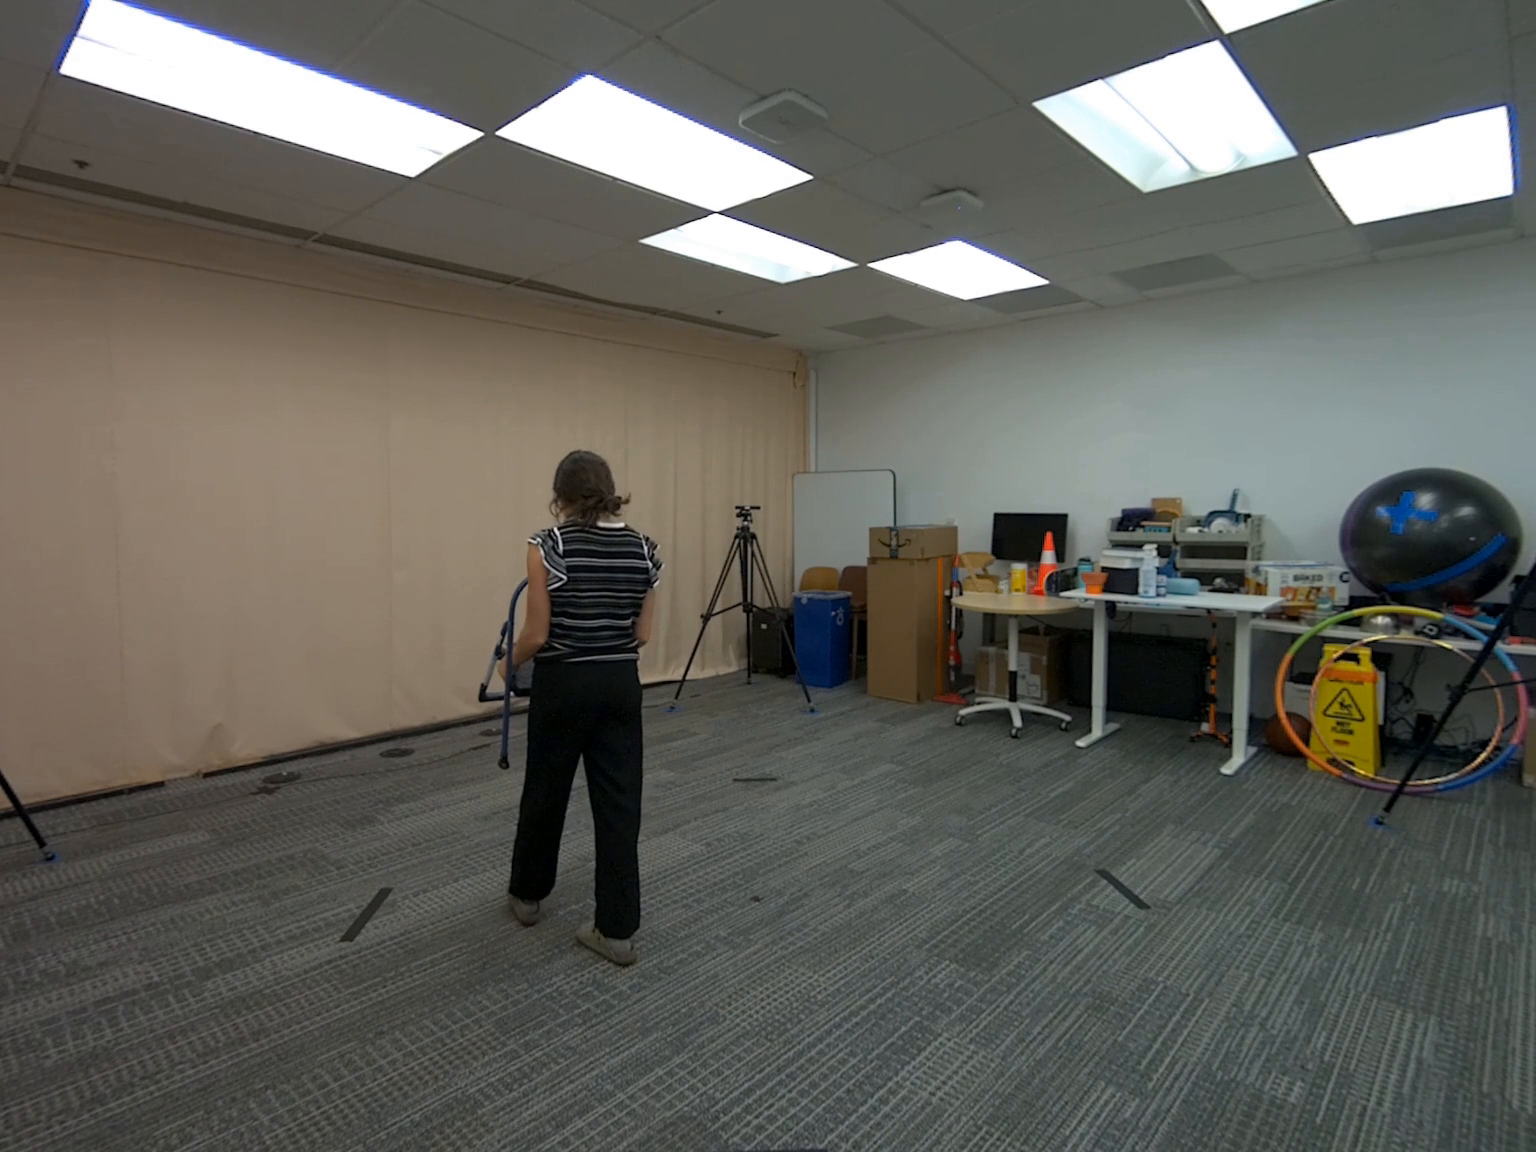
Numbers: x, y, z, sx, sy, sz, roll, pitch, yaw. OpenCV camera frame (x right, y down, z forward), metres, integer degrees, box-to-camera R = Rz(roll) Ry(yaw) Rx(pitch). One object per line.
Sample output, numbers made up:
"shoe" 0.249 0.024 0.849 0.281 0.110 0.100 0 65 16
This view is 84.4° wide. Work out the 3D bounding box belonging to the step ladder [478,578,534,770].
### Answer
"step ladder" -0.693 0.270 2.832 0.418 0.602 0.362 0 31 -35
